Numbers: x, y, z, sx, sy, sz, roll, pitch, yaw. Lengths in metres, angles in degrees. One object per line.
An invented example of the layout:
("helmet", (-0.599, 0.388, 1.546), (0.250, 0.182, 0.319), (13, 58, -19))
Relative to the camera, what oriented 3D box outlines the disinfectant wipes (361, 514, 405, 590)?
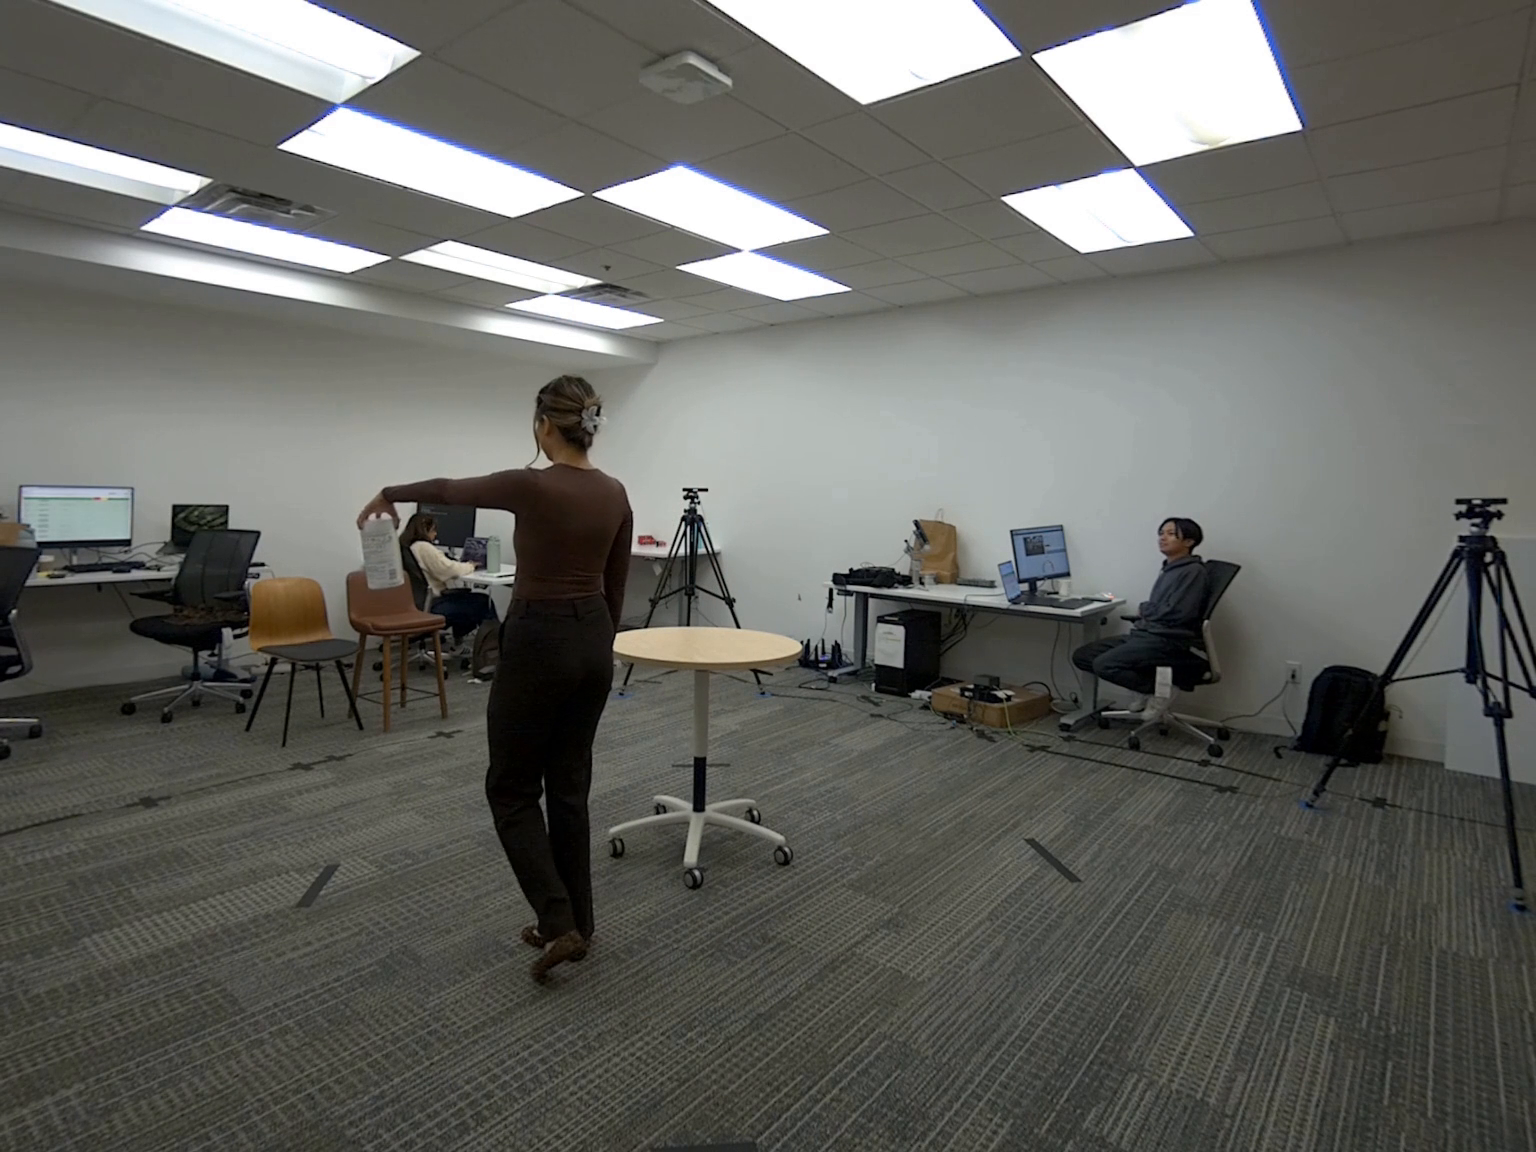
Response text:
("disinfectant wipes", (-1.238, -0.074, 2.683), (0.118, 0.216, 0.118), (-3, 6, -1))
